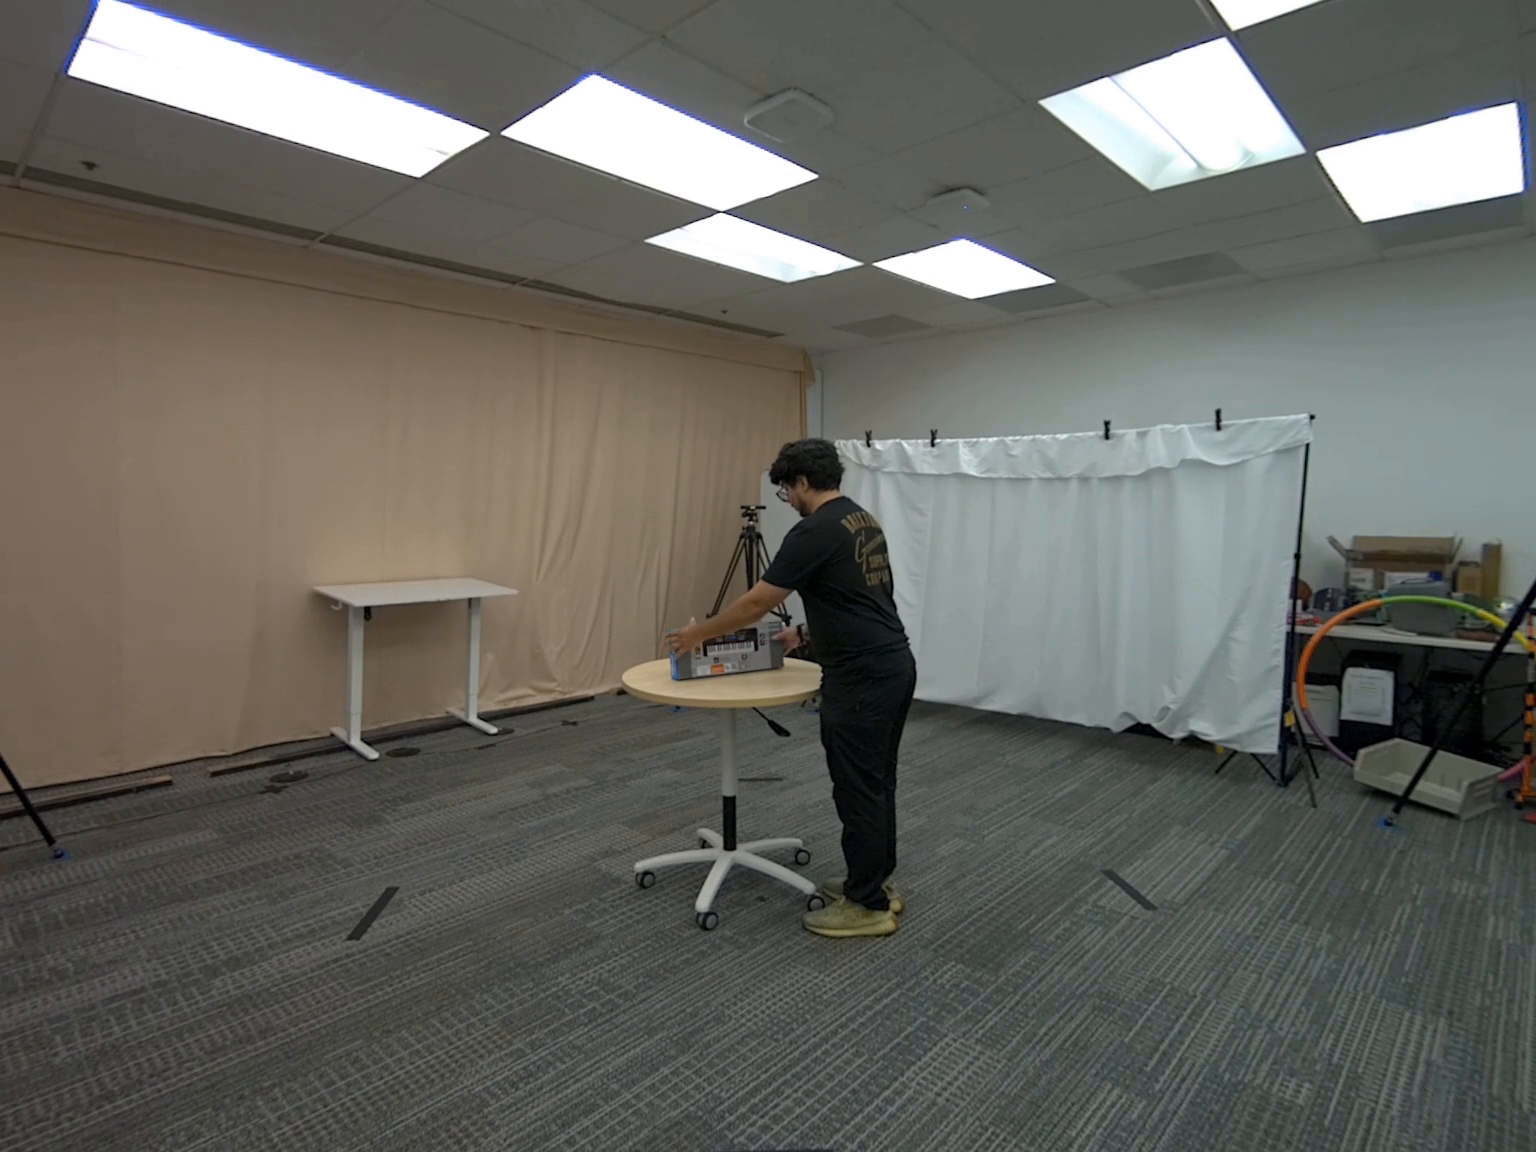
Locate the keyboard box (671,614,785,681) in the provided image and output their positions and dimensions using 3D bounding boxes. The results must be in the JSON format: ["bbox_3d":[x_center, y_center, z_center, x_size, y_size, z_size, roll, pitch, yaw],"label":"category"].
[{"bbox_3d":[-0.143,0.270,3.059,0.426,0.176,0.060,-3,-1,-27],"label":"keyboard box"}]
